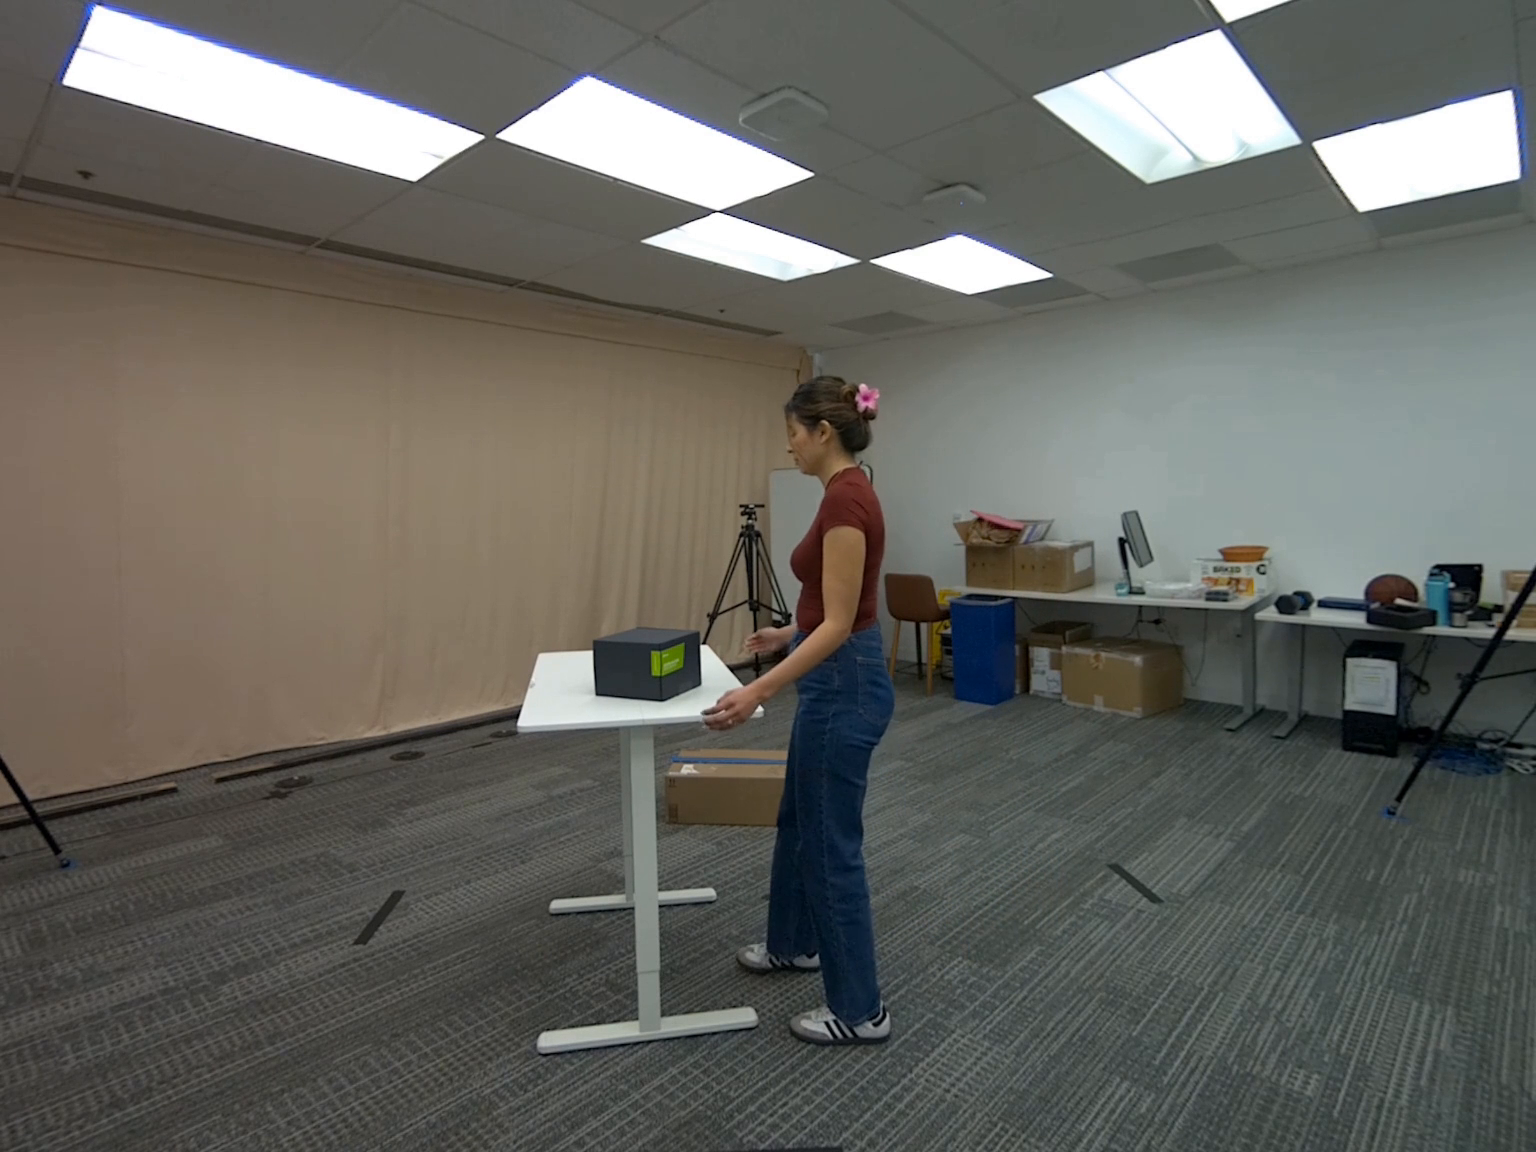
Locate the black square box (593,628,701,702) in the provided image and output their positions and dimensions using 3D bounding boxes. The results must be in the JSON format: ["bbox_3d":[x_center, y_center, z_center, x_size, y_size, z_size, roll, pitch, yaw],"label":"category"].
[{"bbox_3d":[-0.332,0.242,2.341,0.222,0.155,0.223,1,5,24],"label":"black square box"}]
